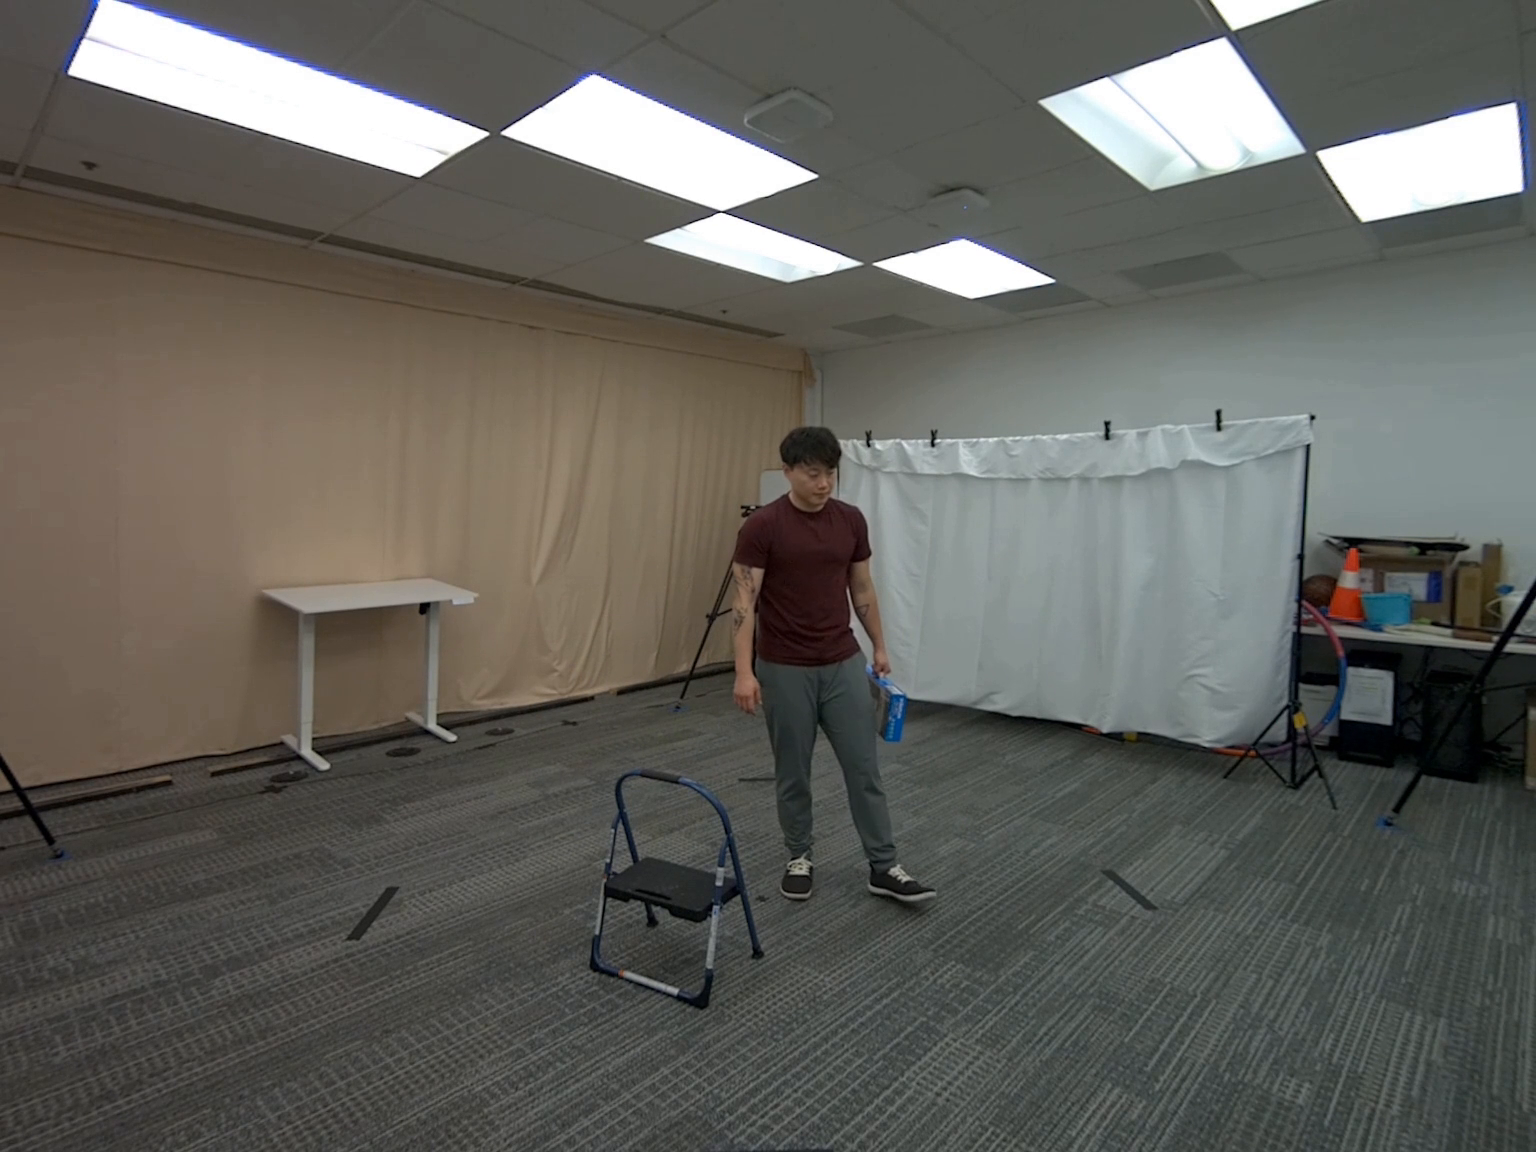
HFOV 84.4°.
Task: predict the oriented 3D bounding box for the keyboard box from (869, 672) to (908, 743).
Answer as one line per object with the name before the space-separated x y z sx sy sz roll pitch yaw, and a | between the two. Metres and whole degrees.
keyboard box | 0.413 0.461 3.140 0.058 0.175 0.444 4 8 -12
